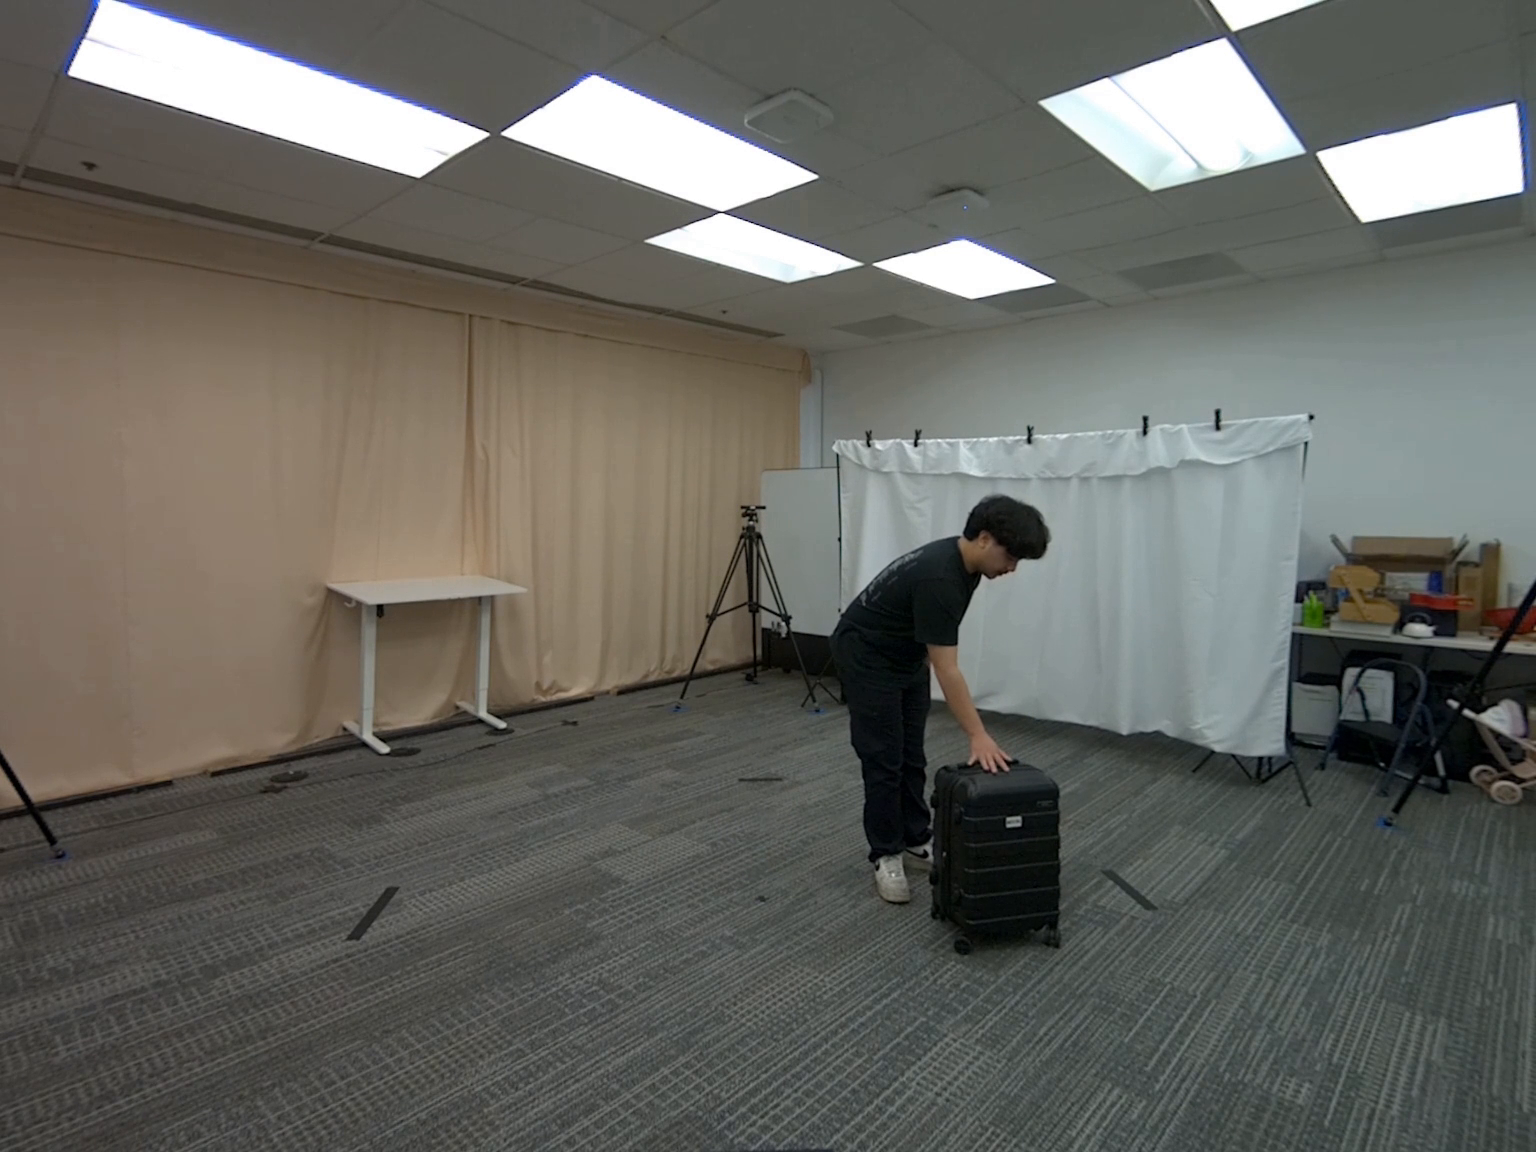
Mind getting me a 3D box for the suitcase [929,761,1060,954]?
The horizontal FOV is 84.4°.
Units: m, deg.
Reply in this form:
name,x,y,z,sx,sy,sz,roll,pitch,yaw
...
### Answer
name,x,y,z,sx,sy,sz,roll,pitch,yaw
suitcase,0.752,0.886,2.738,0.370,0.548,0.252,-1,4,-13
